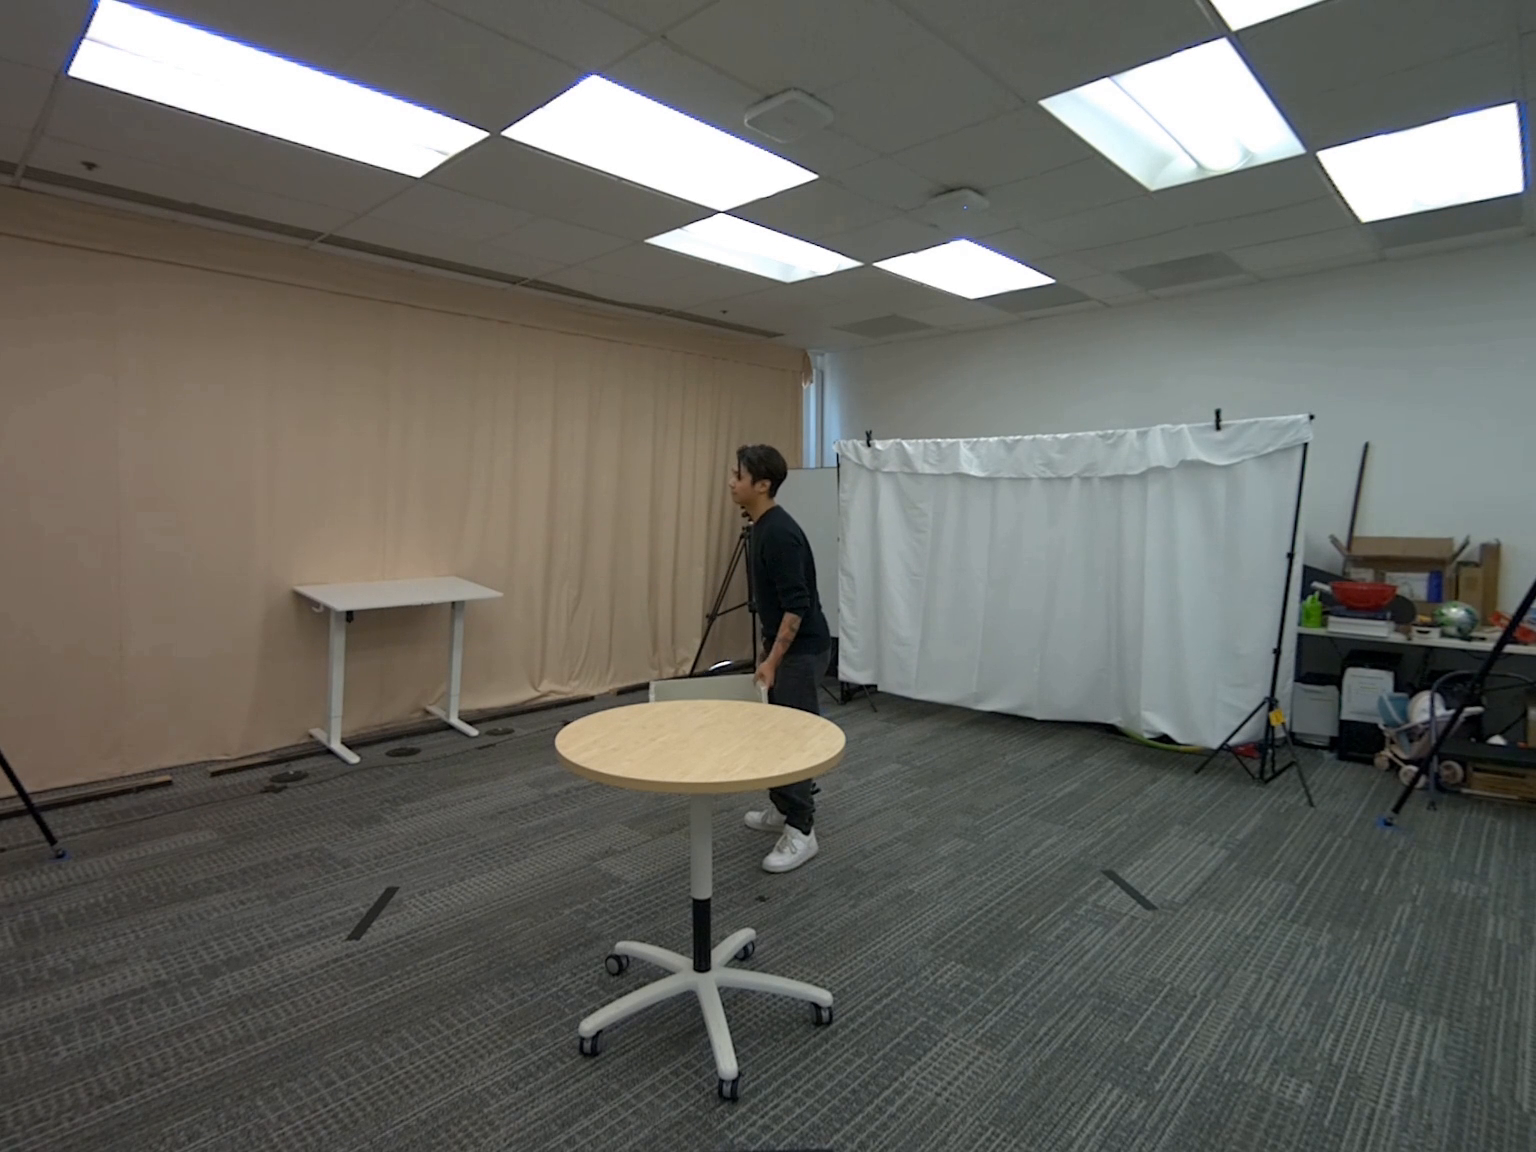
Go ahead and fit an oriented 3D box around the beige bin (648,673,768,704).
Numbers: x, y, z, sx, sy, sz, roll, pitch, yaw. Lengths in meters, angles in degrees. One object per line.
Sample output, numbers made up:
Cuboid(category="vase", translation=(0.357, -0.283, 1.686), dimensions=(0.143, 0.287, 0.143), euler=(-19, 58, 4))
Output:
Cuboid(category="beige bin", translation=(-0.229, 0.494, 3.145), dimensions=(0.420, 0.189, 0.379), euler=(-2, -1, -5))
